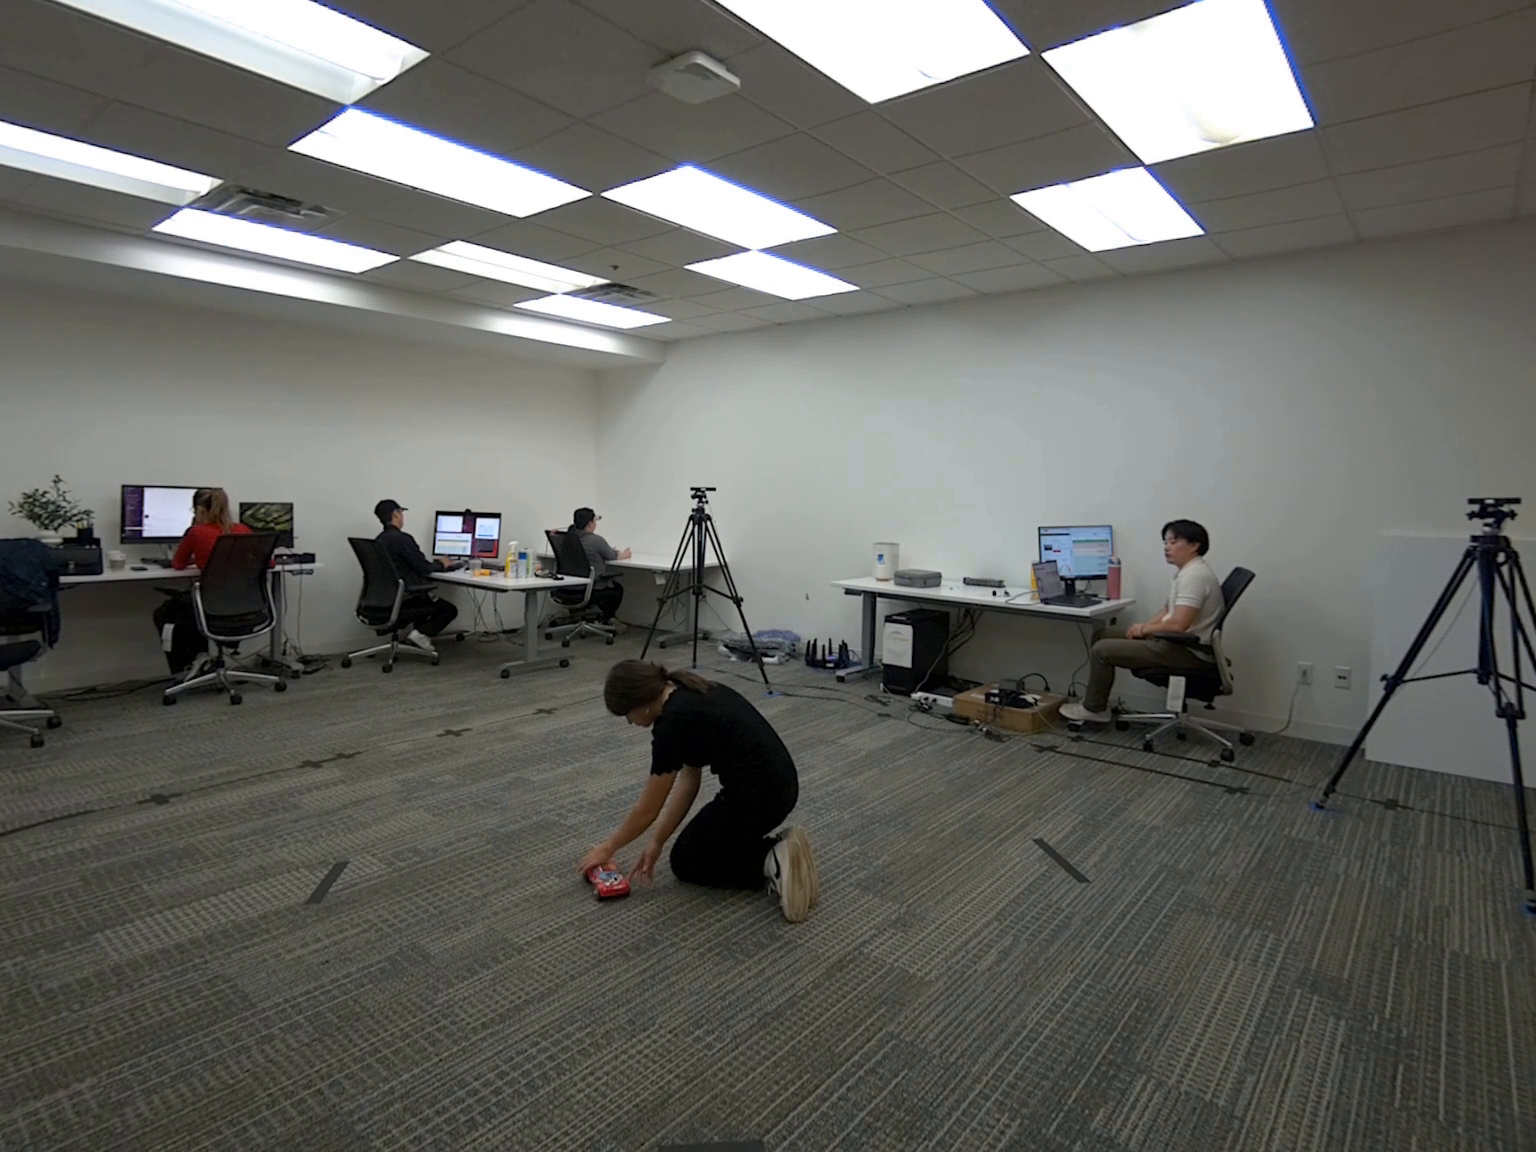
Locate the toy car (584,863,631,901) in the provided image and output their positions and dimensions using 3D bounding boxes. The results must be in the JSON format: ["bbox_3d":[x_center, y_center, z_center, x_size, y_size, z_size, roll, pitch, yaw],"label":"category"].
[{"bbox_3d":[-0.579,1.045,2.966,0.127,0.082,0.263,0,14,-25],"label":"toy car"}]
